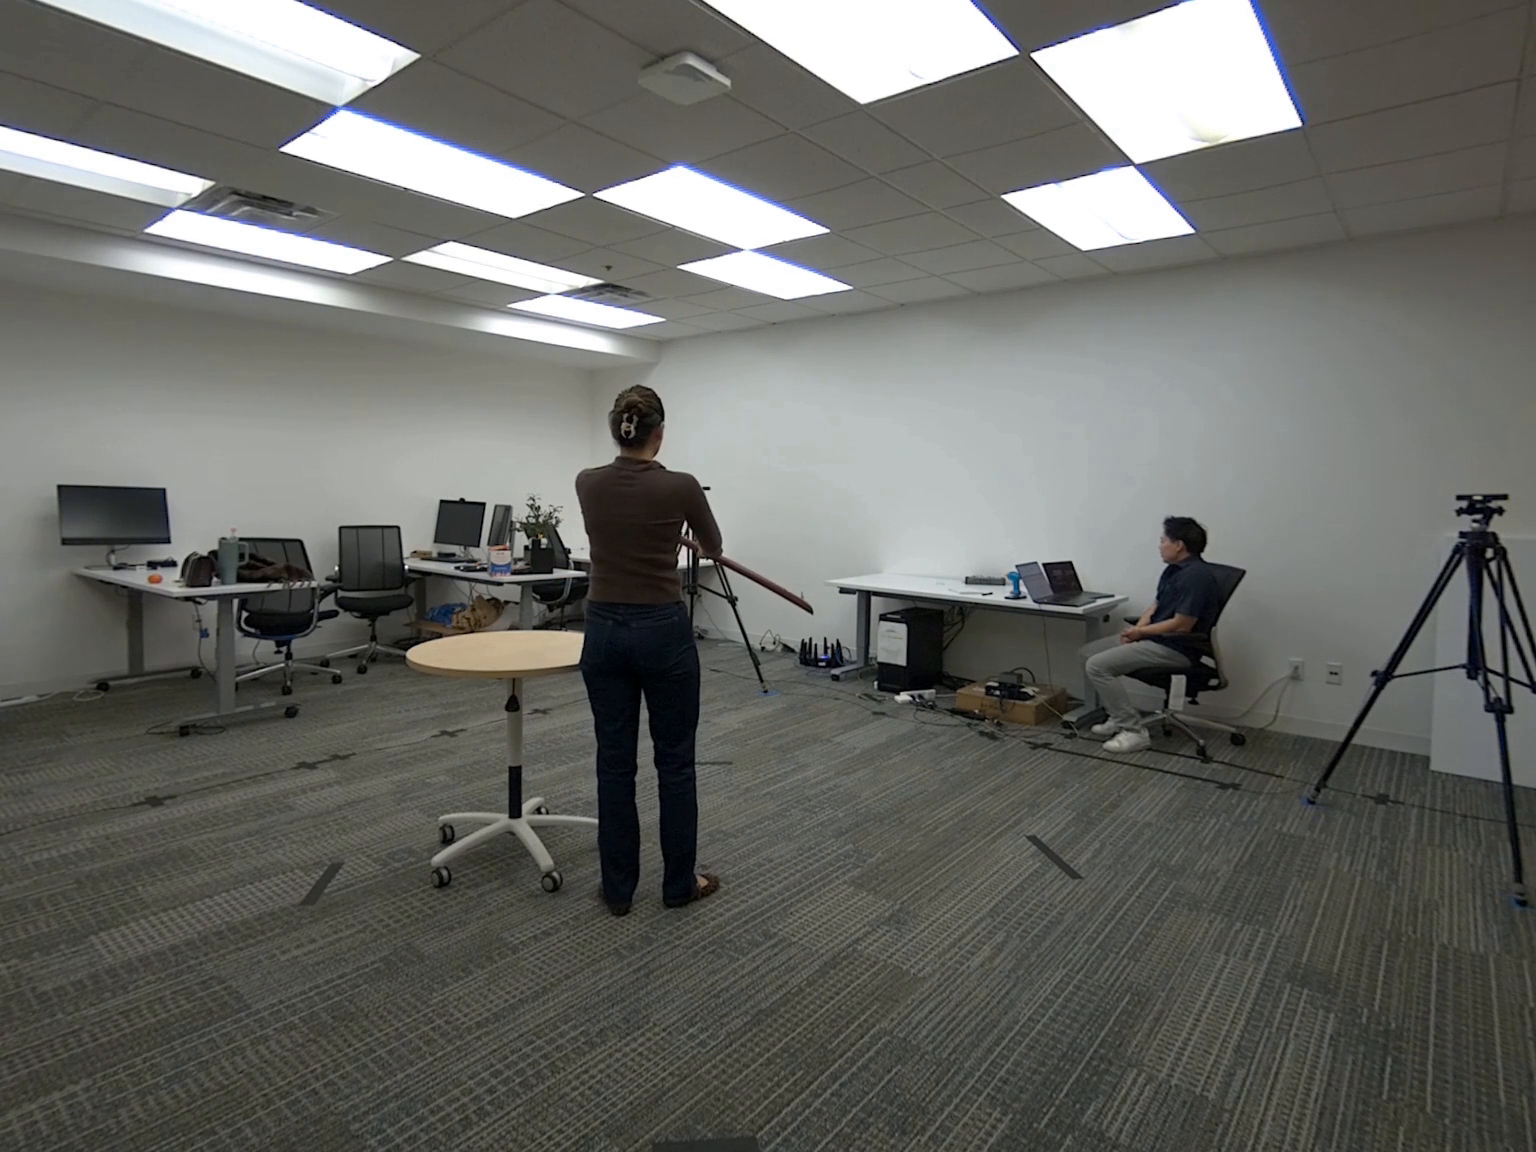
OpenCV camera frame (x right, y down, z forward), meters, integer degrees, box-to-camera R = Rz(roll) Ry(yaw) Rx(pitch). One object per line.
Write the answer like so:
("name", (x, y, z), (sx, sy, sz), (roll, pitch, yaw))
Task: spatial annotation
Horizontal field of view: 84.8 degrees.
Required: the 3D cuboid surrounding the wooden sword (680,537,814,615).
("wooden sword", (-0.291, -0.107, 3.303), (1.042, 0.023, 0.051), (26, 51, 12))
